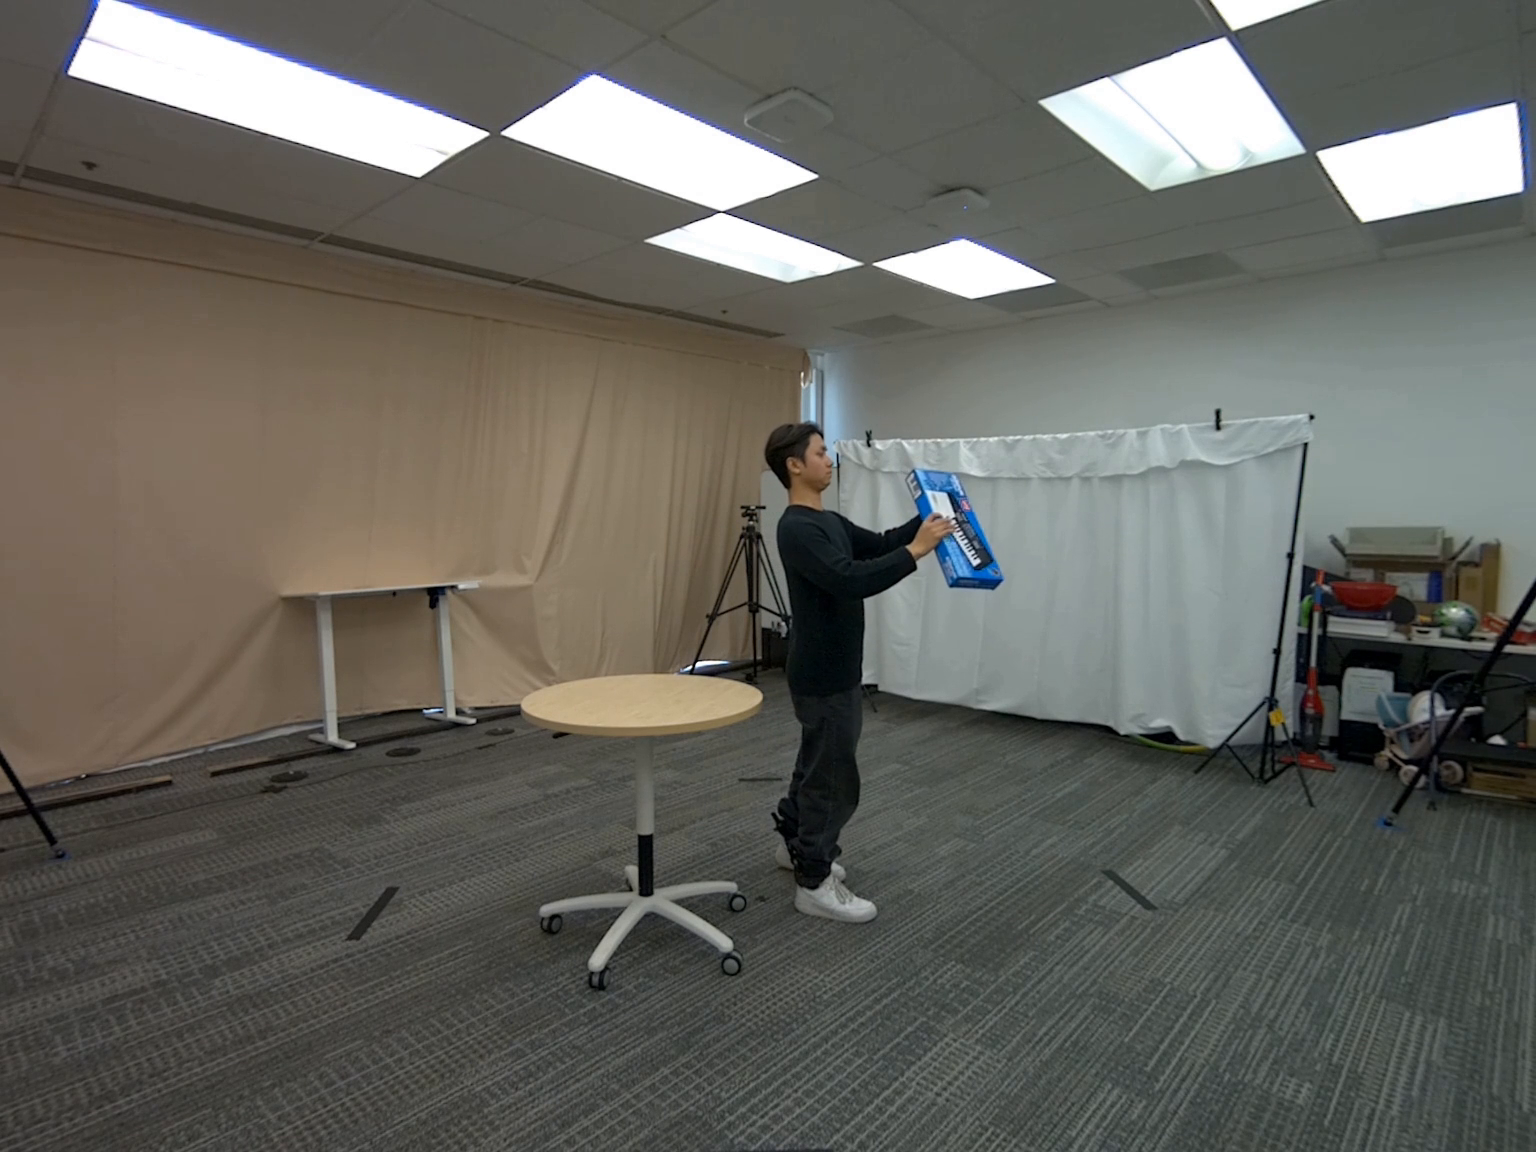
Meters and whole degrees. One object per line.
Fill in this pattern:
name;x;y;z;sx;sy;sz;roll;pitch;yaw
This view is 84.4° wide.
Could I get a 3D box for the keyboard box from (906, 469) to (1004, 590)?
keyboard box;0.595;-0.153;2.690;0.172;0.447;0.059;2;-36;-23
